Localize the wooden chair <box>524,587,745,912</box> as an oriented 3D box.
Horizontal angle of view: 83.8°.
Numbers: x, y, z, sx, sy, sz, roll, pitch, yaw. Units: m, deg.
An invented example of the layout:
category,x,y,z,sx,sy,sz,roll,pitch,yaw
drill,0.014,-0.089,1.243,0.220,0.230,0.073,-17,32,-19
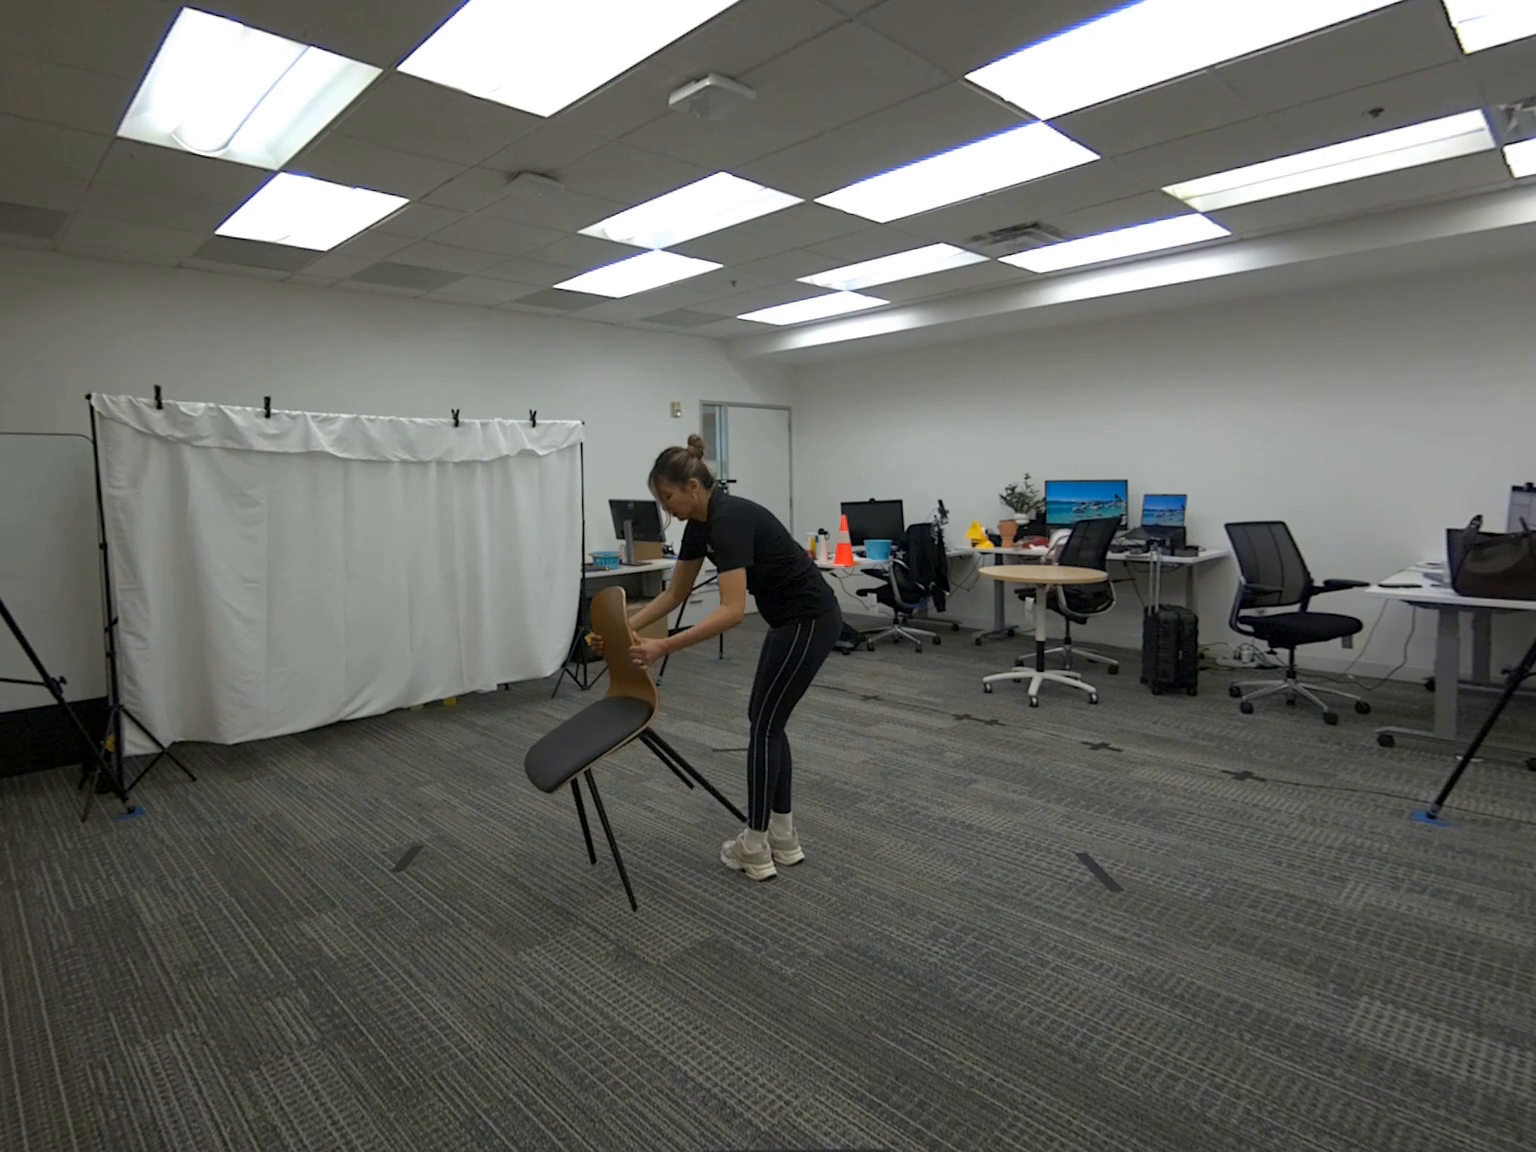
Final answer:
category,x,y,z,sx,sy,sz,roll,pitch,yaw
wooden chair,-0.530,0.542,2.806,0.518,0.867,0.489,-28,11,-24
